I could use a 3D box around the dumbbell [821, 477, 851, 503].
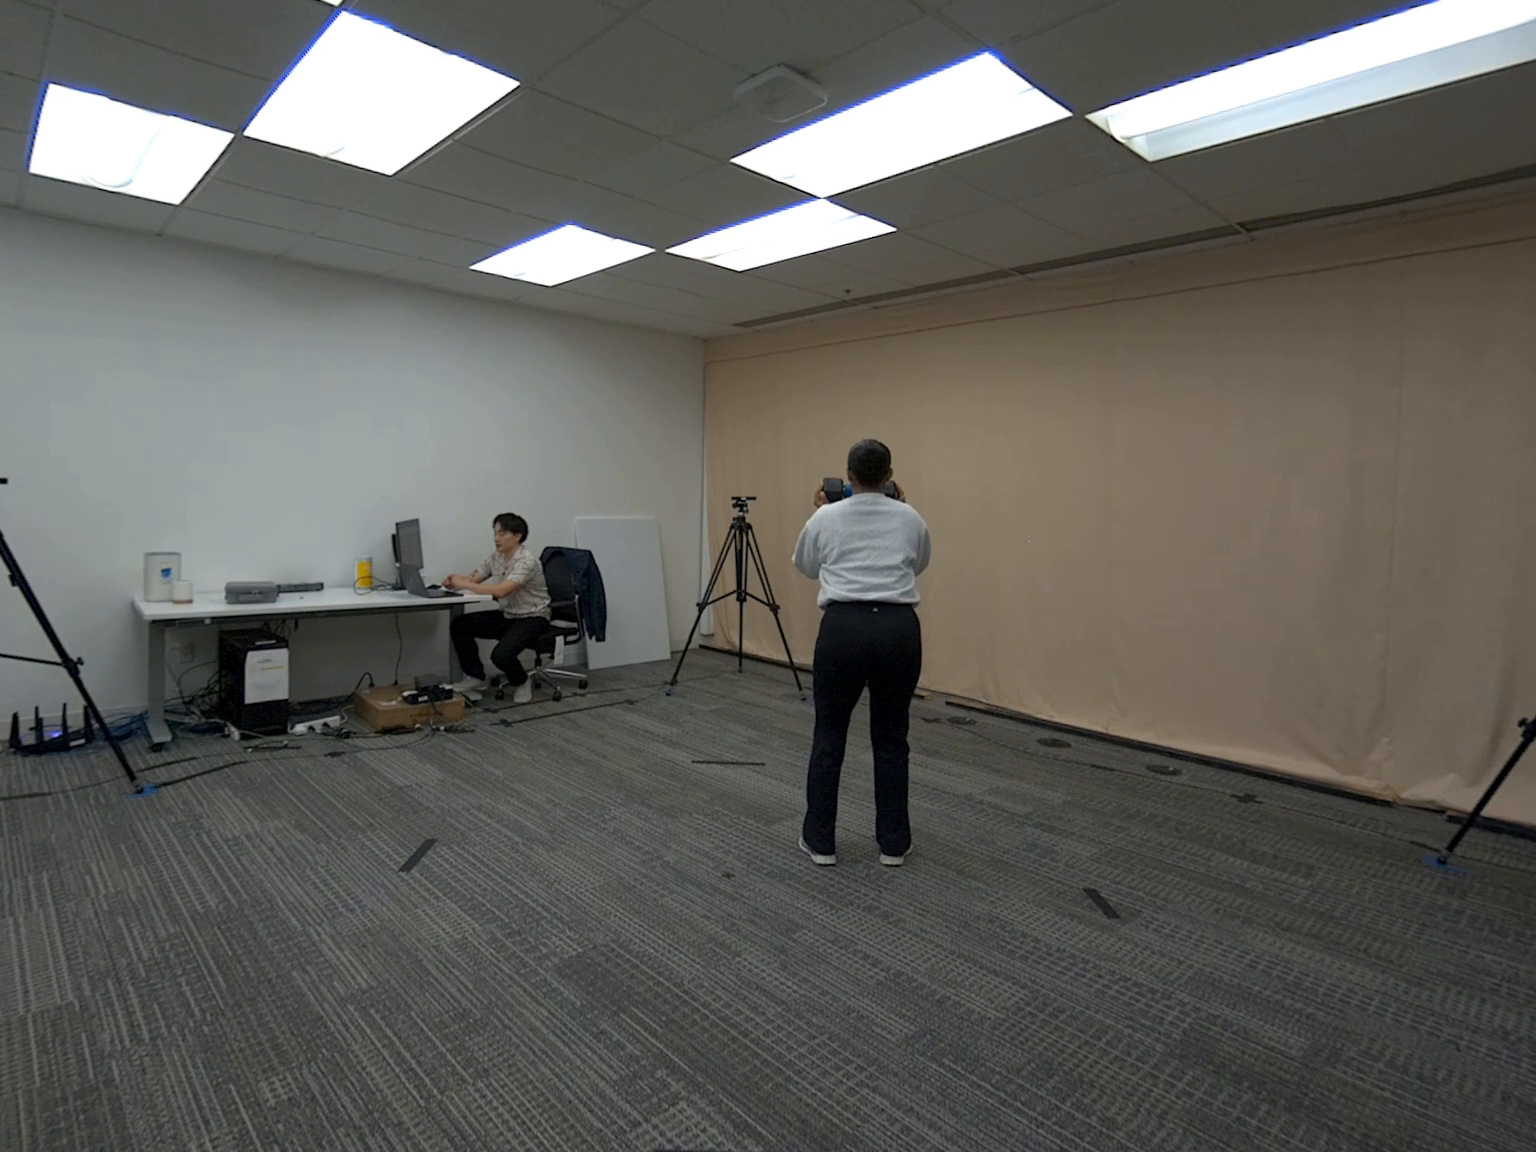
[{"bbox_3d":[0.369,-0.324,3.425,0.294,0.120,0.111,3,38,1],"label":"dumbbell"}]
